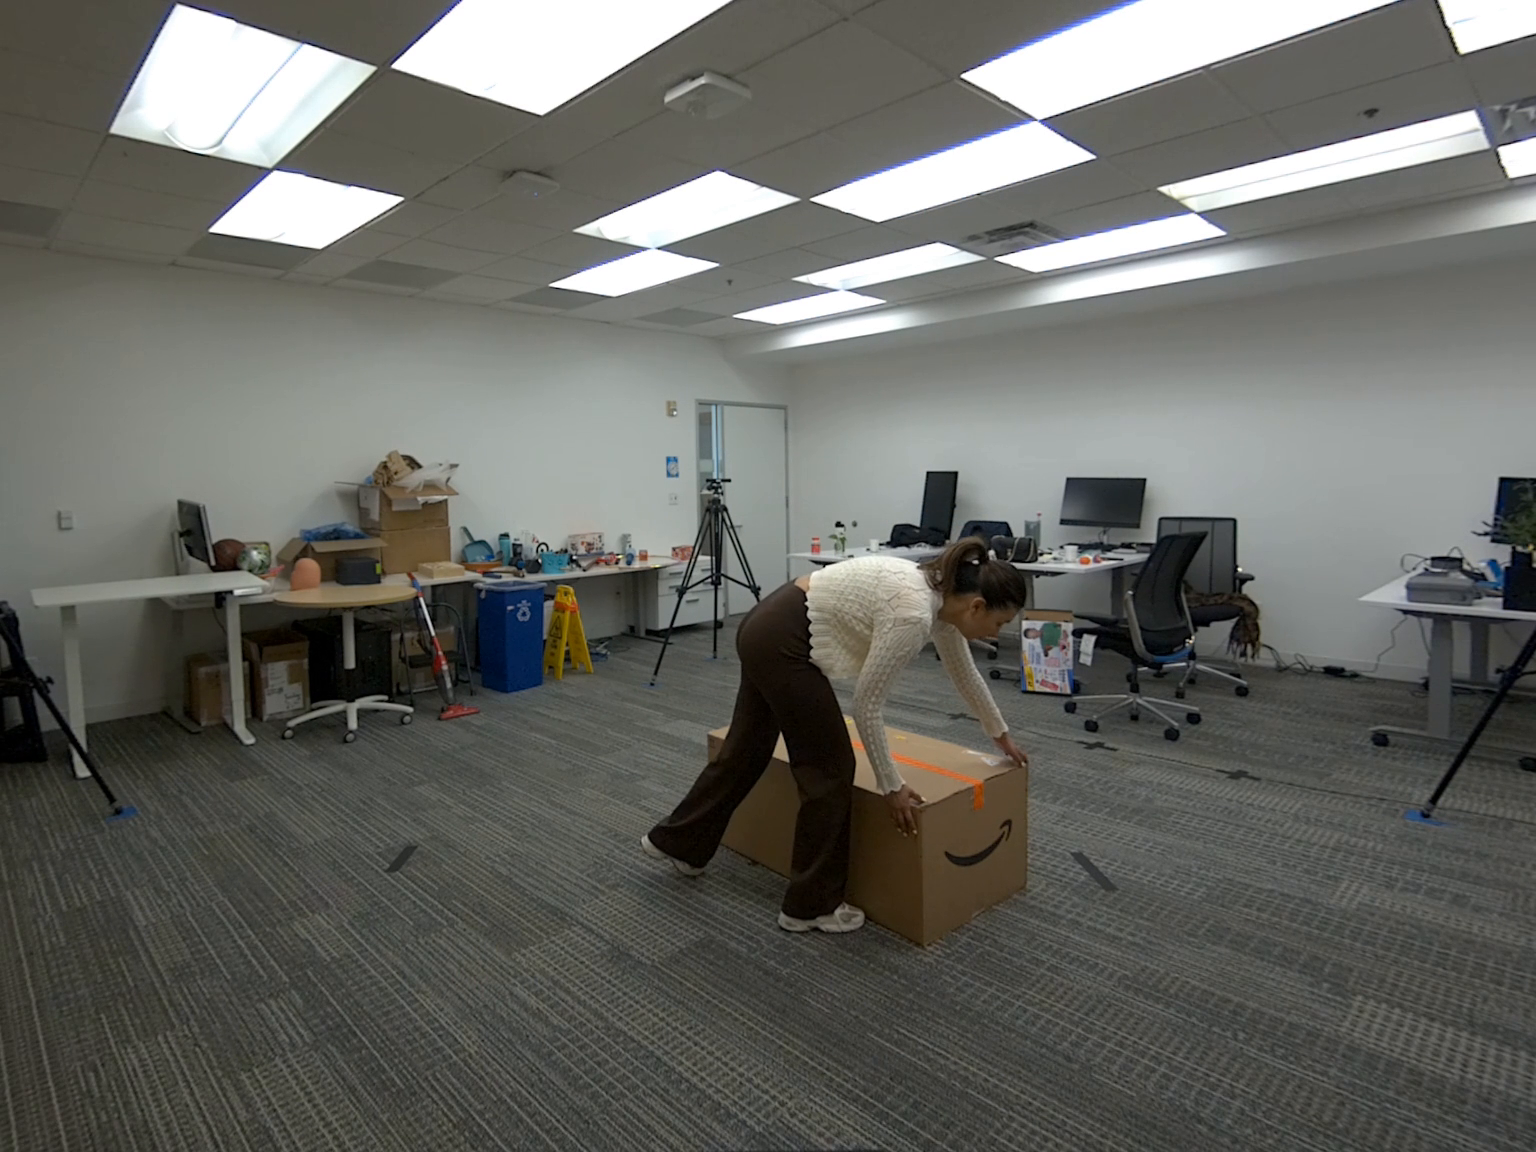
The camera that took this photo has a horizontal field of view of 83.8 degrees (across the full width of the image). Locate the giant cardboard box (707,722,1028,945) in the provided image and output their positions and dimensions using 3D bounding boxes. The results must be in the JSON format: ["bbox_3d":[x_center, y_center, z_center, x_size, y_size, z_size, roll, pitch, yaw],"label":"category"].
[{"bbox_3d":[0.322,0.825,3.094,0.562,0.424,1.058,-6,8,-41],"label":"giant cardboard box"}]
